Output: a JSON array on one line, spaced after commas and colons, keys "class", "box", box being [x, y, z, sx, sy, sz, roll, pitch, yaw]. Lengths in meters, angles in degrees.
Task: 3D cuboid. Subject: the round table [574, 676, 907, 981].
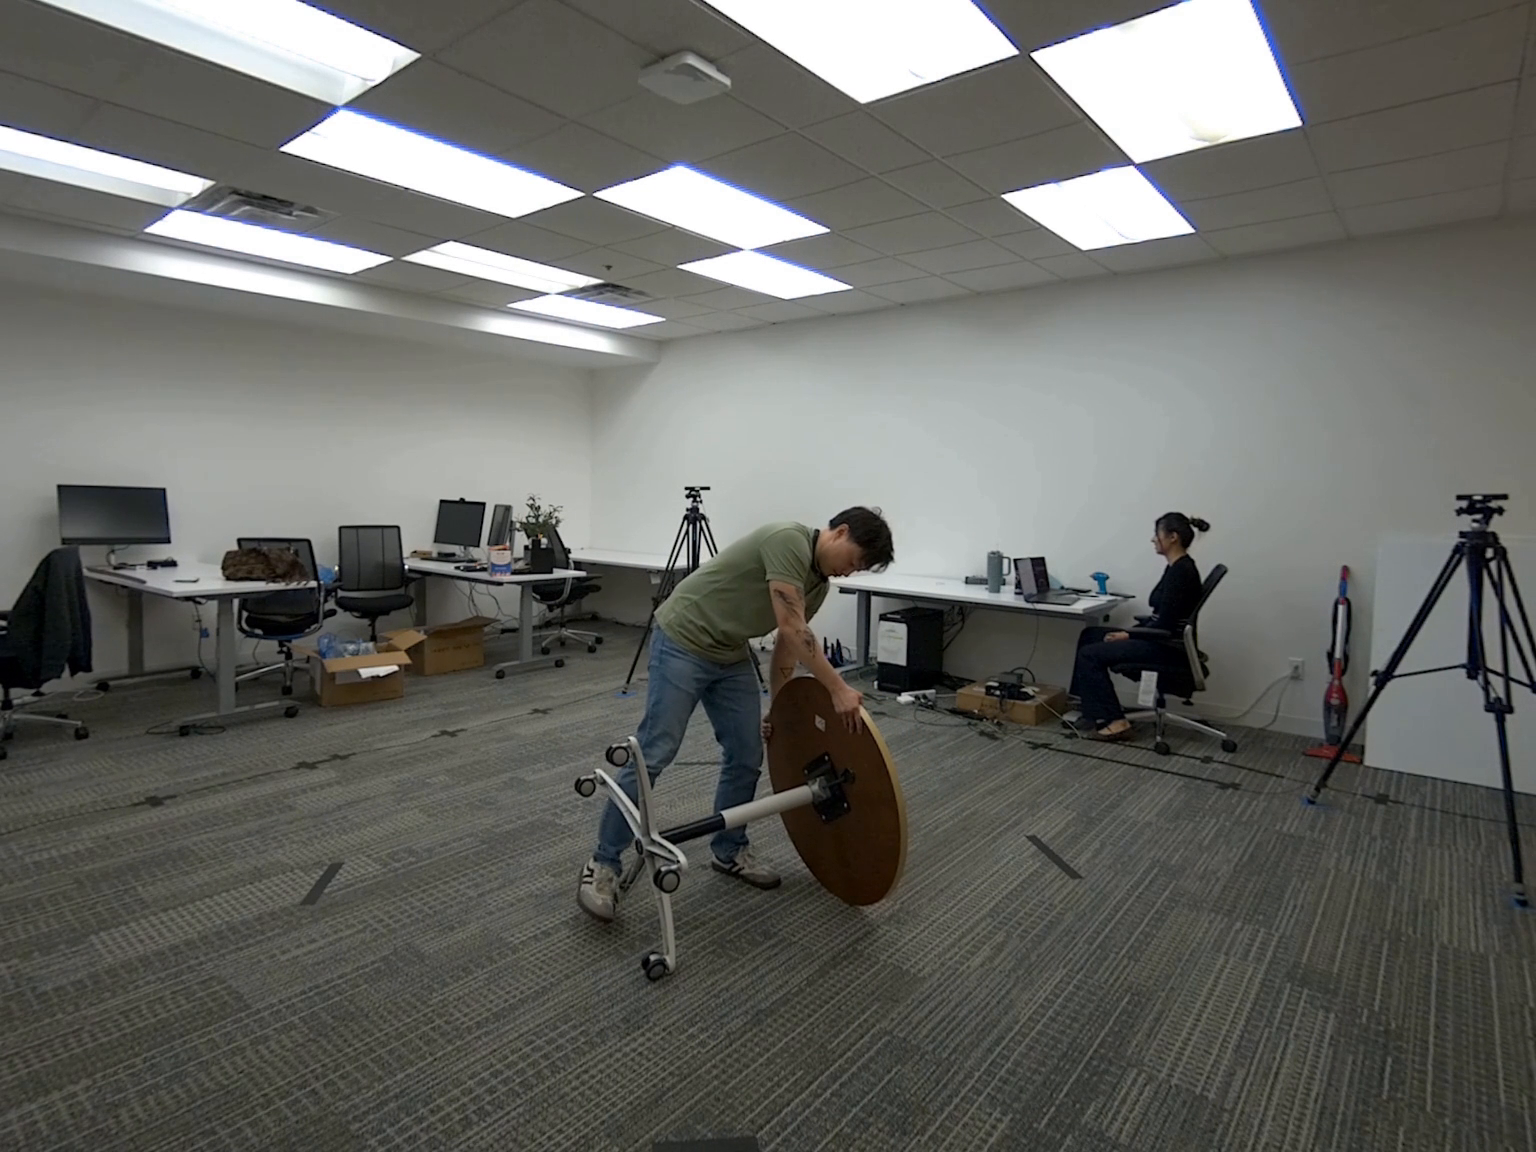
[{"class": "round table", "box": [-0.121, 0.775, 2.700, 0.776, 0.759, 0.787, -9, 8, -29]}]
